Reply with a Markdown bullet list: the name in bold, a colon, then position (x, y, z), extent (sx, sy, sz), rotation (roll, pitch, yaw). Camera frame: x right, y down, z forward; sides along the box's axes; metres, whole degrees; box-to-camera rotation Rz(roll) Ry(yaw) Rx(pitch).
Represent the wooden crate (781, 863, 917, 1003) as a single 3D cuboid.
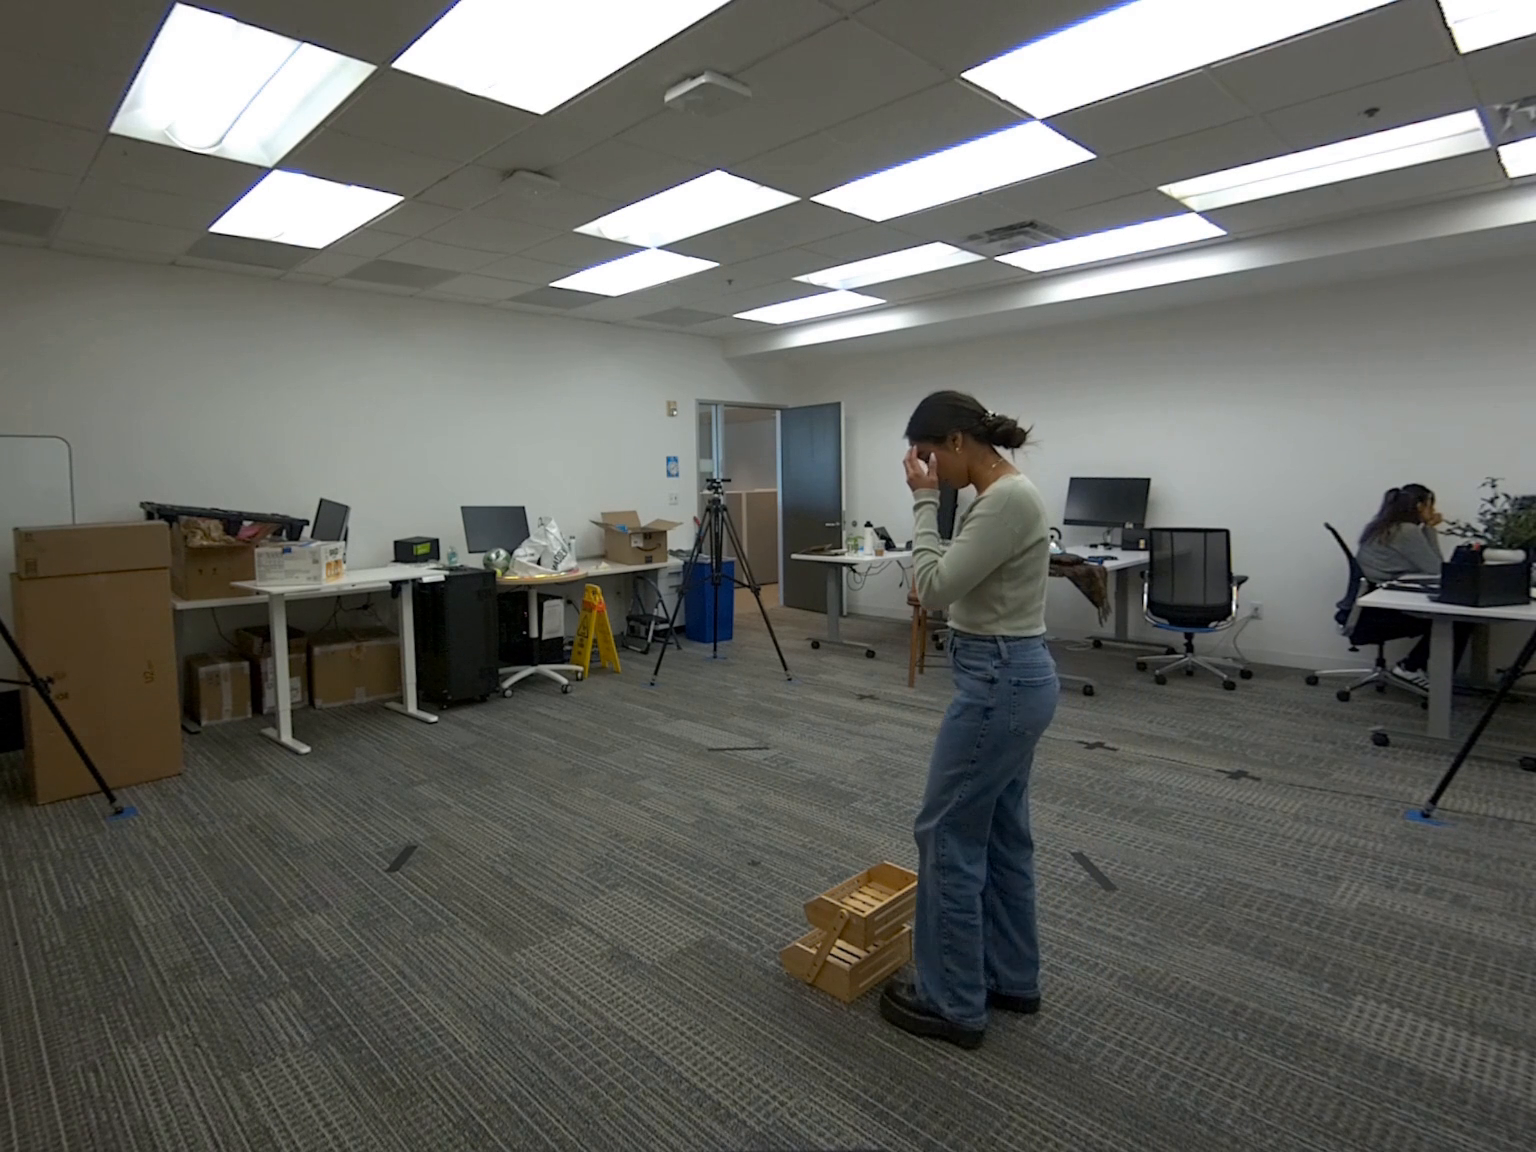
- **wooden crate**: position (0.249, 0.983, 2.430), extent (0.311, 0.272, 0.316), rotation (5, 8, 44)
